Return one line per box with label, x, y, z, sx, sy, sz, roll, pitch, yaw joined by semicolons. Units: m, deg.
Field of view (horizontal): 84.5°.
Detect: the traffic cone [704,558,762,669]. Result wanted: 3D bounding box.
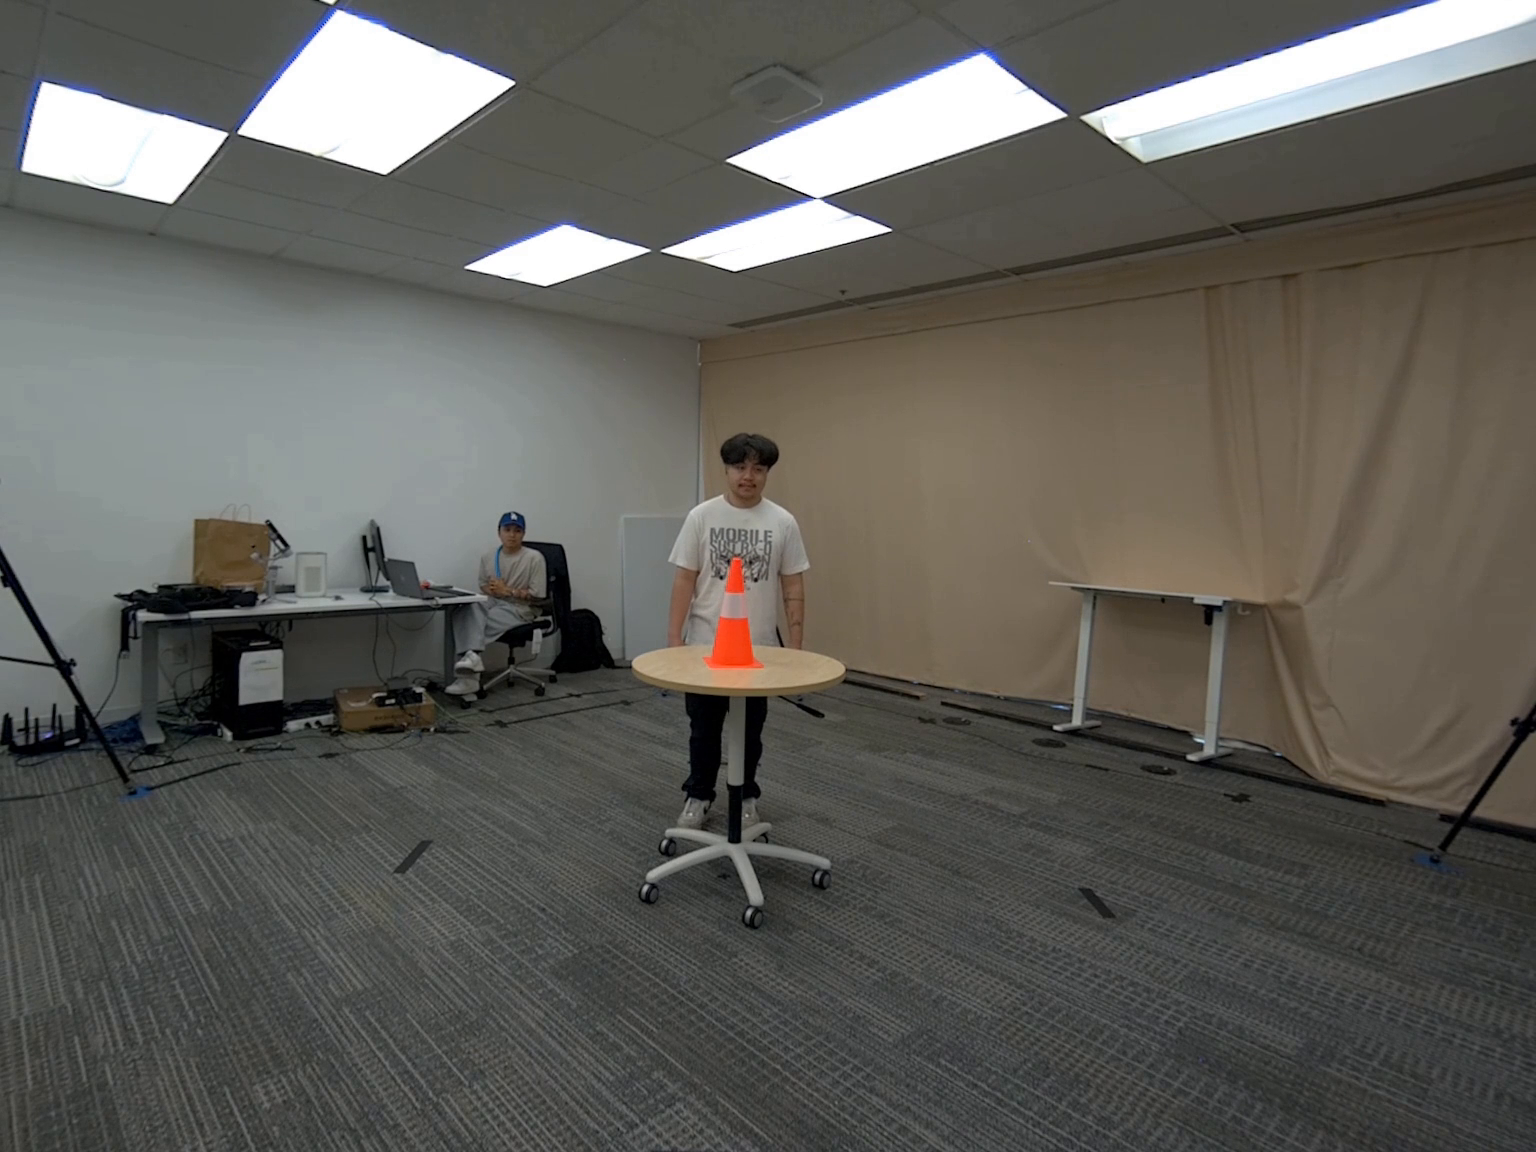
traffic cone;-0.127;0.127;3.045;0.210;0.382;0.199;6;7;36
